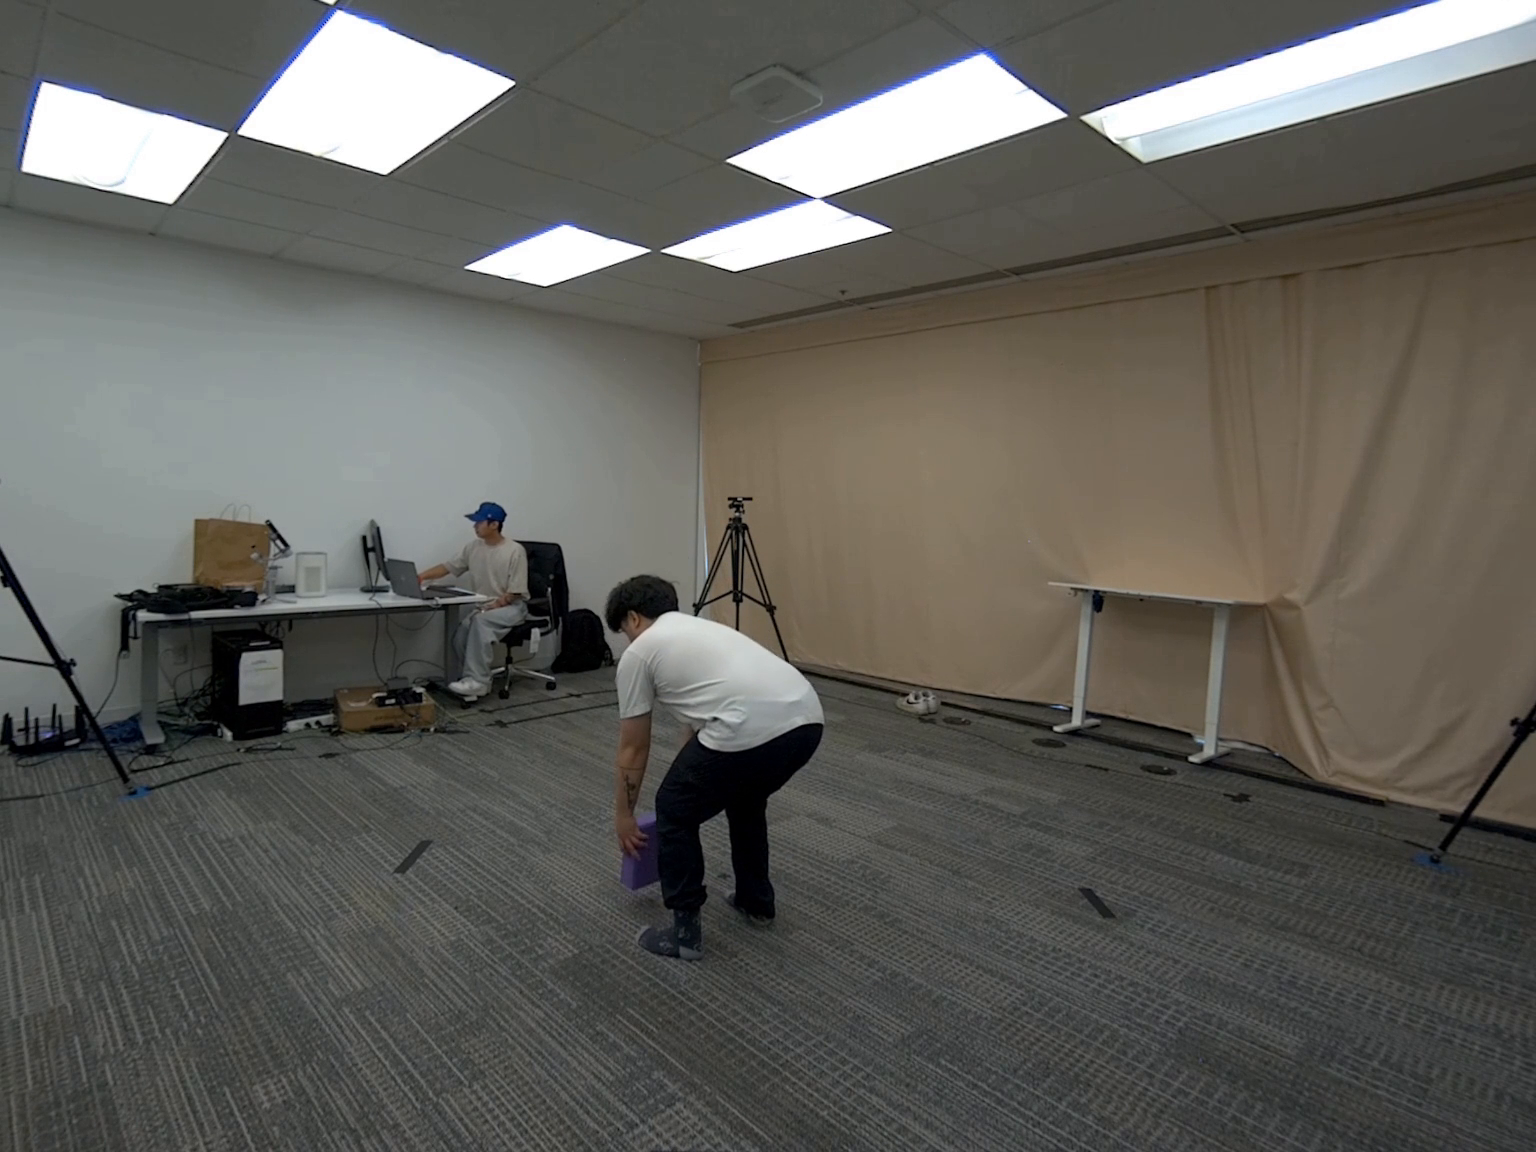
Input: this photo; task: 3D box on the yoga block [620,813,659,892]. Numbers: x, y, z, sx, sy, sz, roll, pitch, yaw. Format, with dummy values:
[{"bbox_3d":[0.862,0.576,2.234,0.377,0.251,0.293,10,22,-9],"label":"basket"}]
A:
[{"bbox_3d":[-0.427,0.933,2.884,0.078,0.229,0.146,5,5,39],"label":"yoga block"}]
